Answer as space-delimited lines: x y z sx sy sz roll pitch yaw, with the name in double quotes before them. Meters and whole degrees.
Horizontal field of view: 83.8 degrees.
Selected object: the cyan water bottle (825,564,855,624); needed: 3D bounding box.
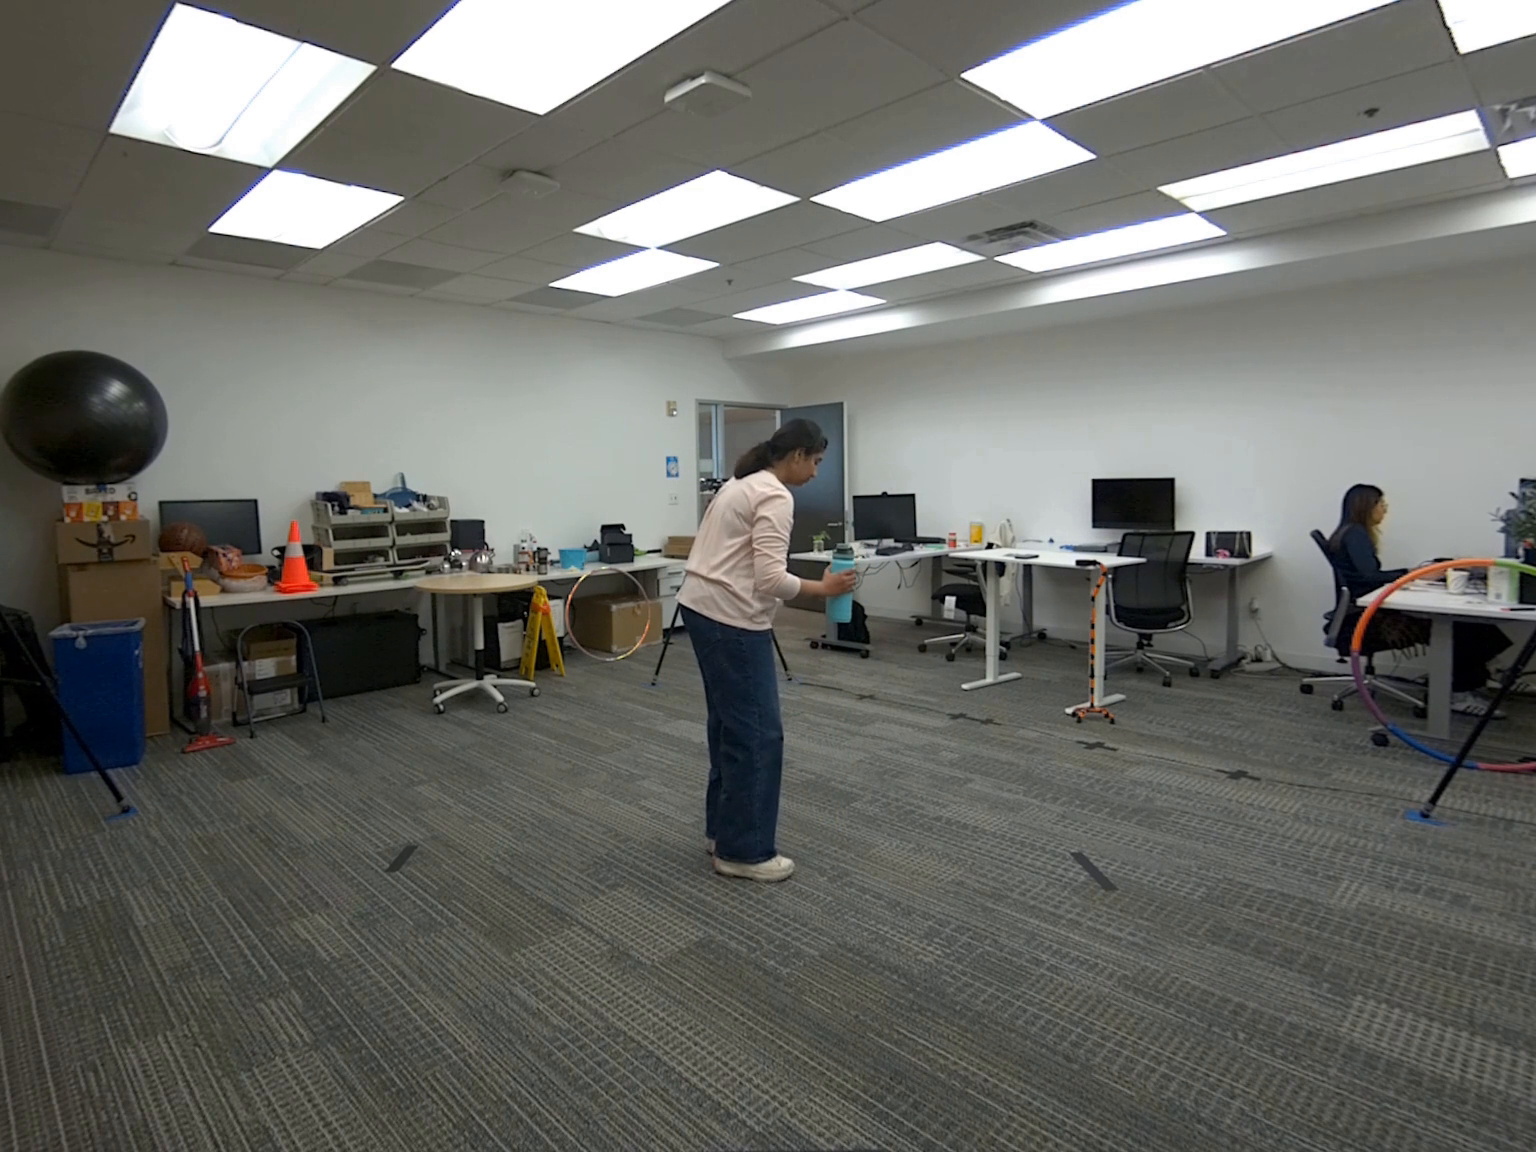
"cyan water bottle" 0.268 0.028 3.138 0.092 0.282 0.093 5 3 -2
